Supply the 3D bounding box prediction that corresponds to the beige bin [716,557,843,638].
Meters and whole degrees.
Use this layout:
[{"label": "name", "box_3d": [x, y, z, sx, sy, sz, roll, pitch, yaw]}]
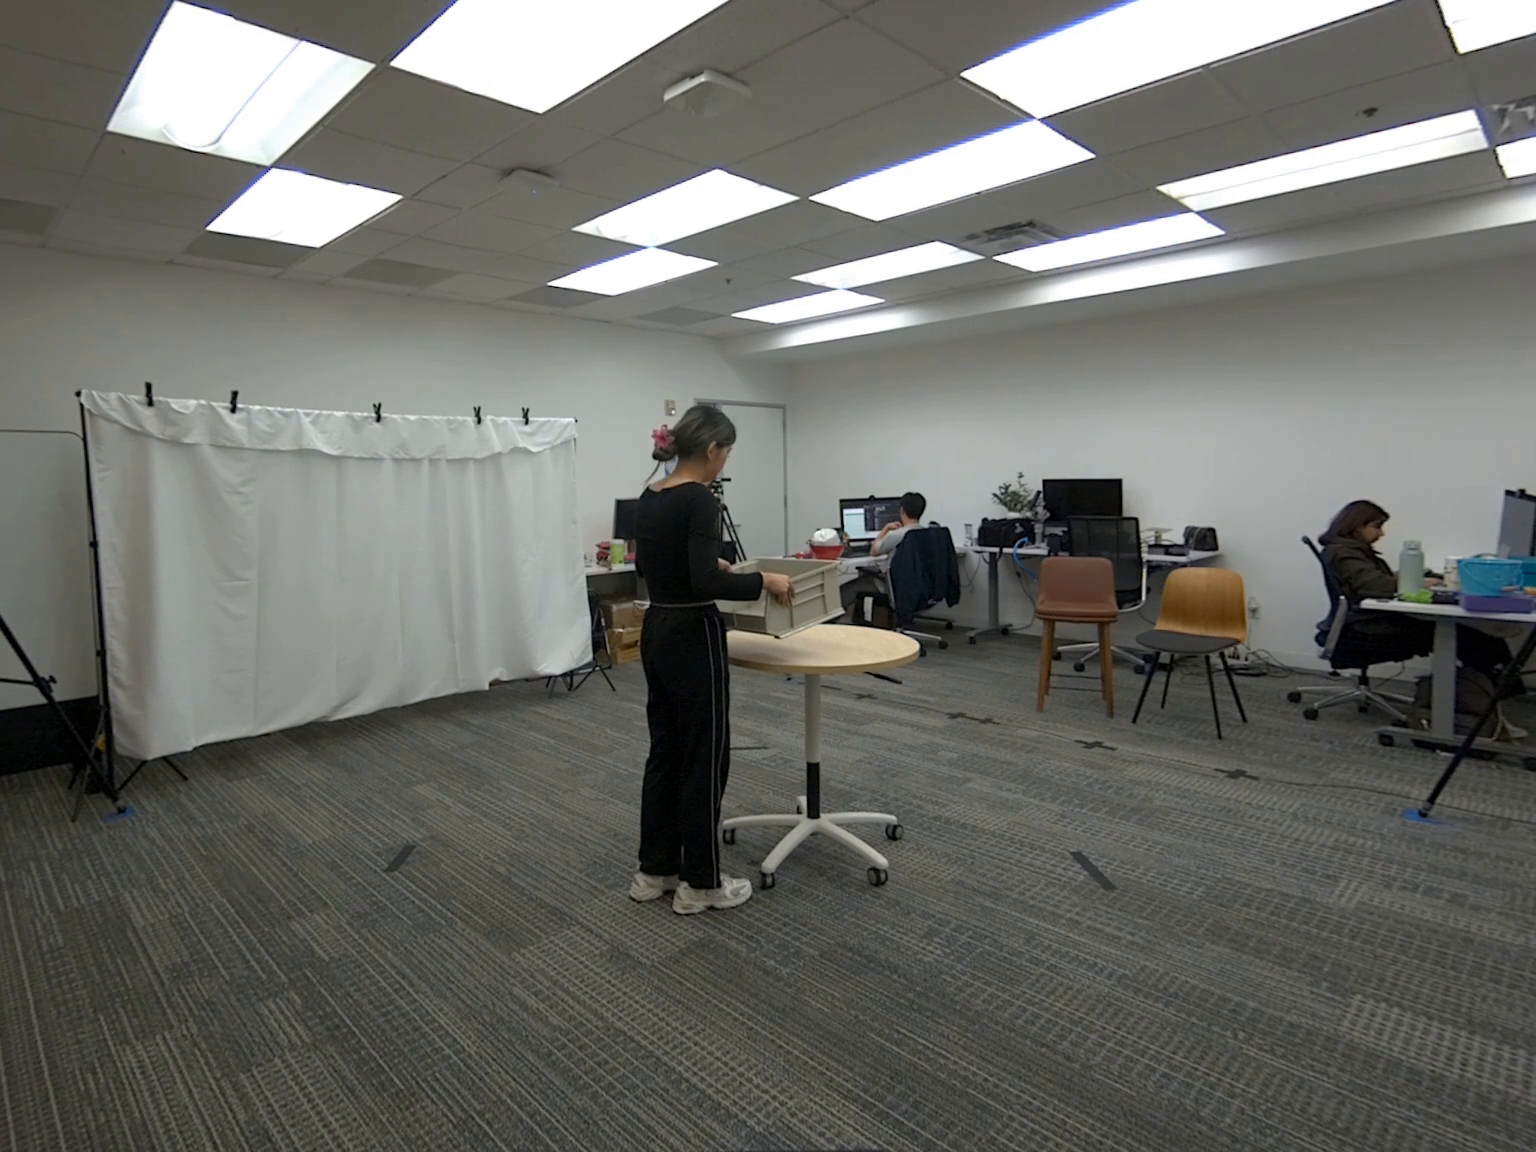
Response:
[{"label": "beige bin", "box_3d": [-0.017, 0.075, 2.951, 0.370, 0.187, 0.434, -16, 12, -39]}]
